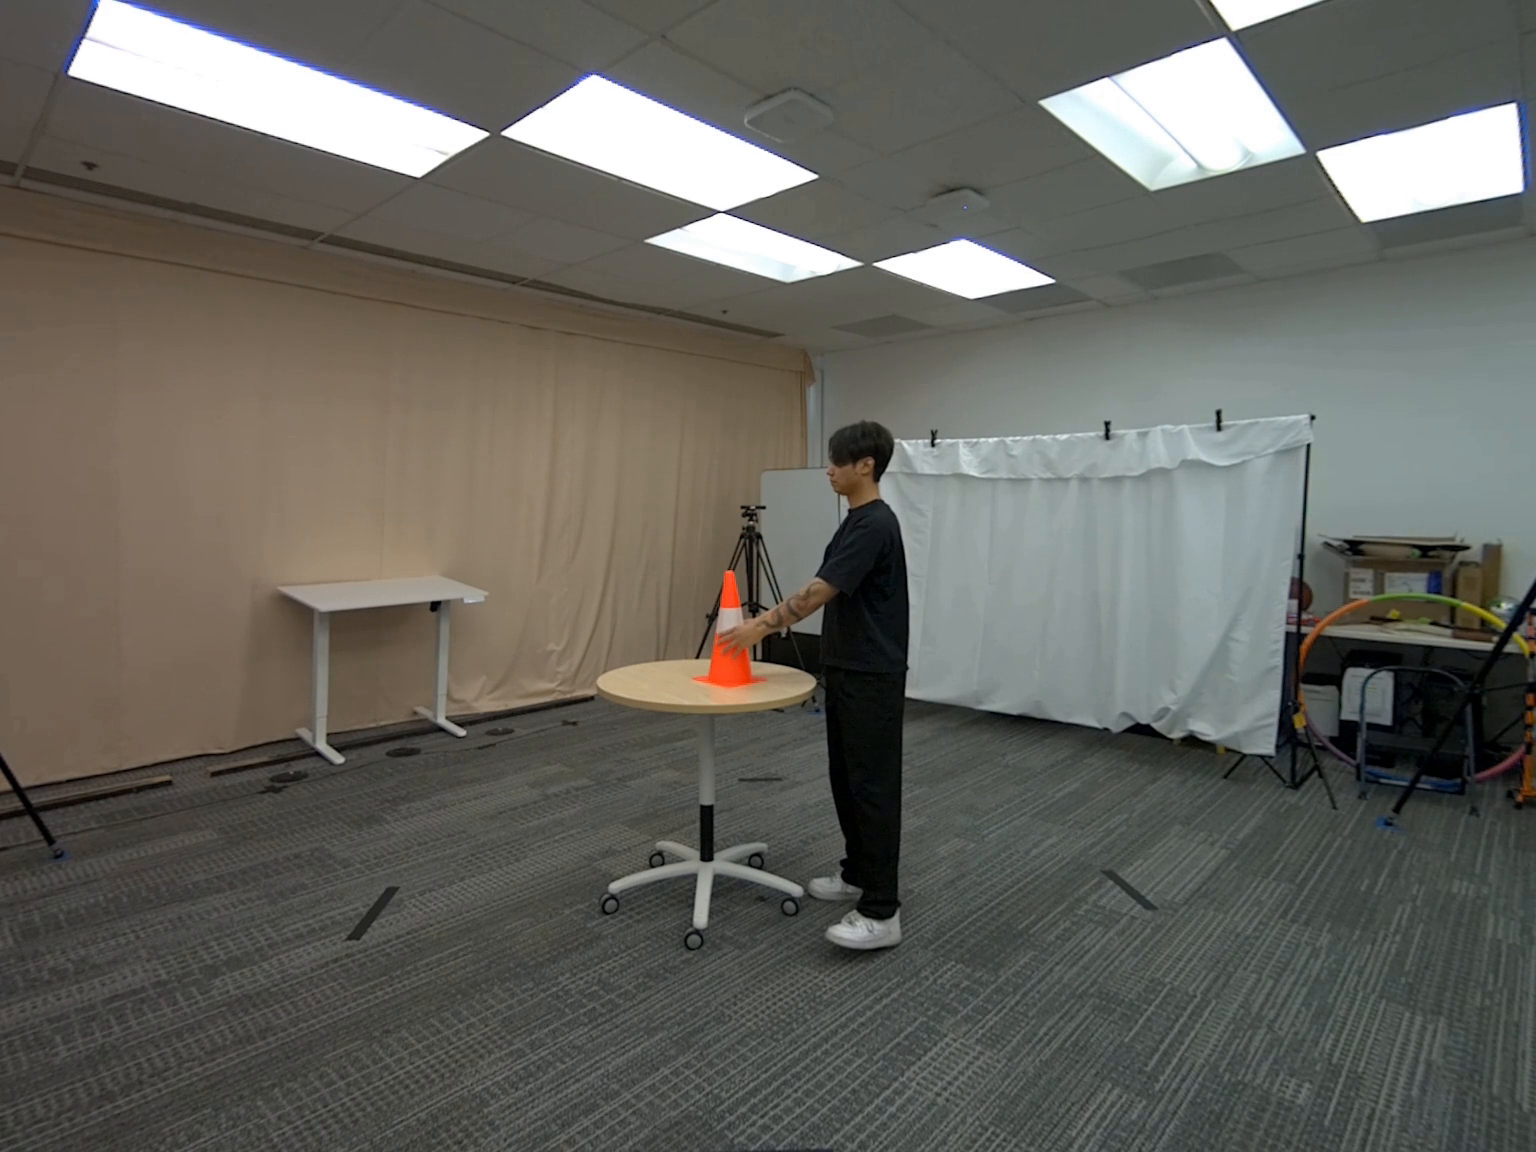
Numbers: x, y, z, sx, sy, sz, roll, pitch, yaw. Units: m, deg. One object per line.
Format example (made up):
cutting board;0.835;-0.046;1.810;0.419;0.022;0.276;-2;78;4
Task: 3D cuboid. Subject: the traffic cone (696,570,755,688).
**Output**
traffic cone;-0.131;0.179;2.934;0.211;0.383;0.197;2;3;38
